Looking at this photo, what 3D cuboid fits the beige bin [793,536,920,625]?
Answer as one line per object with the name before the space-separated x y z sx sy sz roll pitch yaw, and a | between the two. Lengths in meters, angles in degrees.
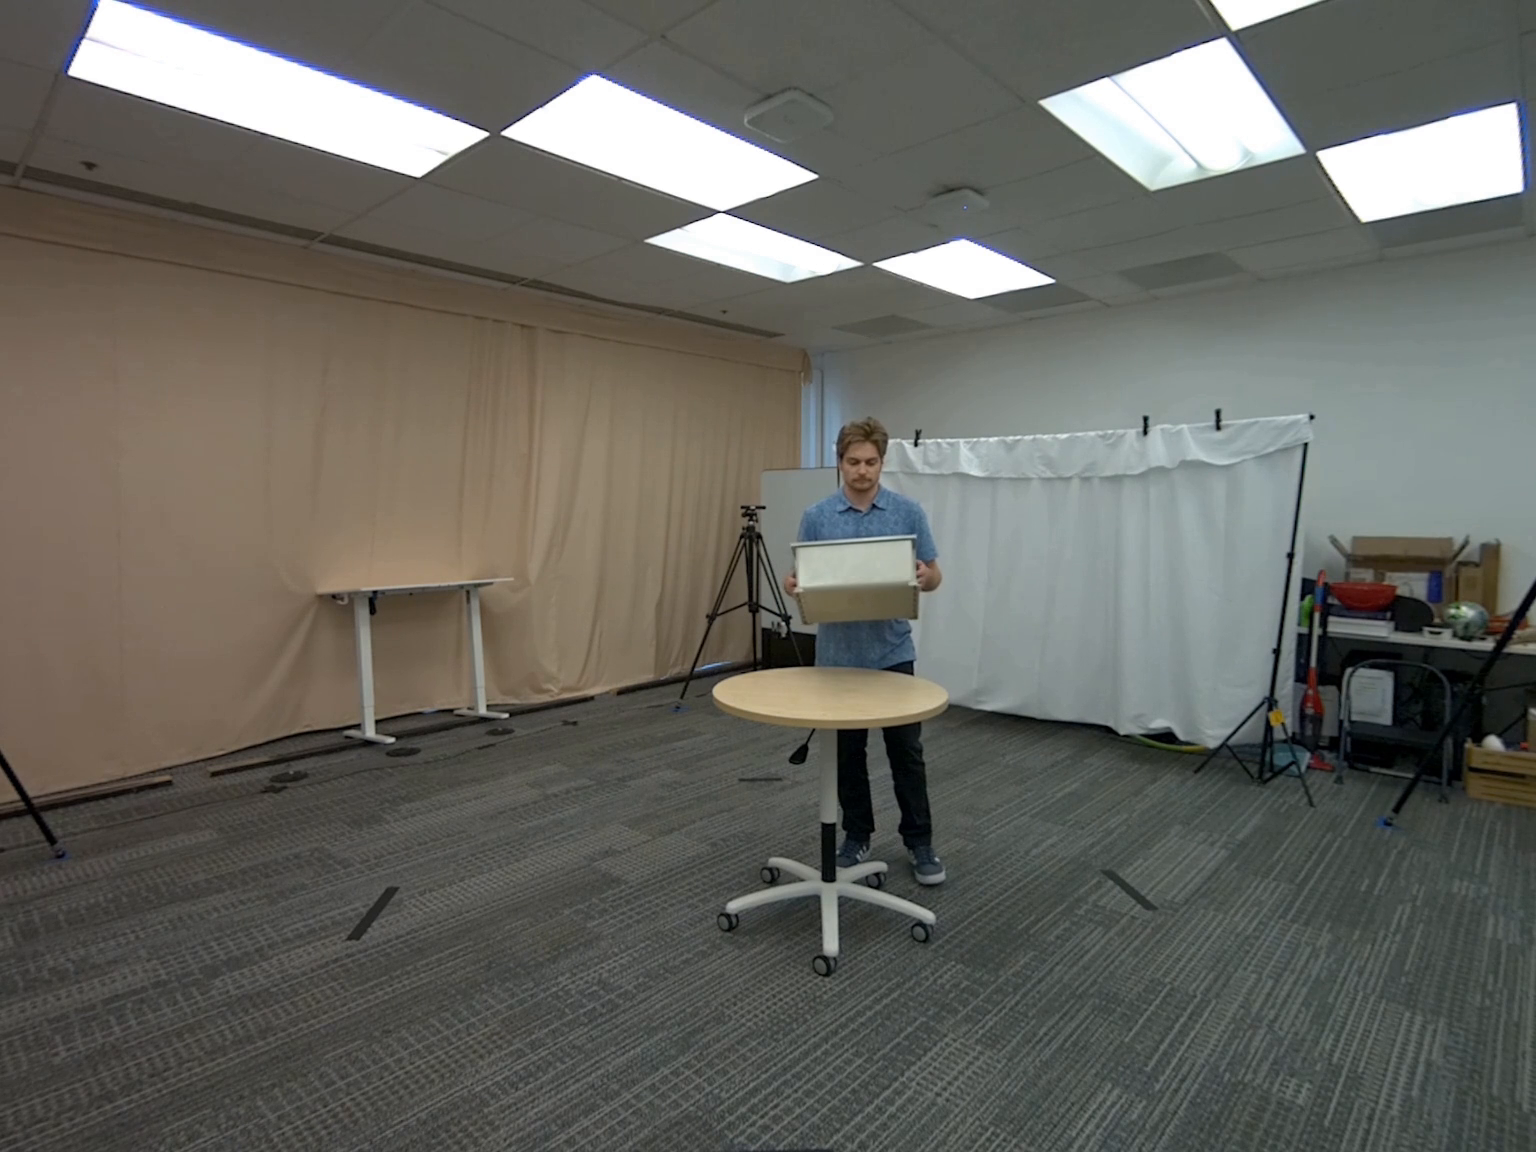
beige bin | 0.313 0.035 2.973 0.427 0.191 0.368 -3 -25 9
